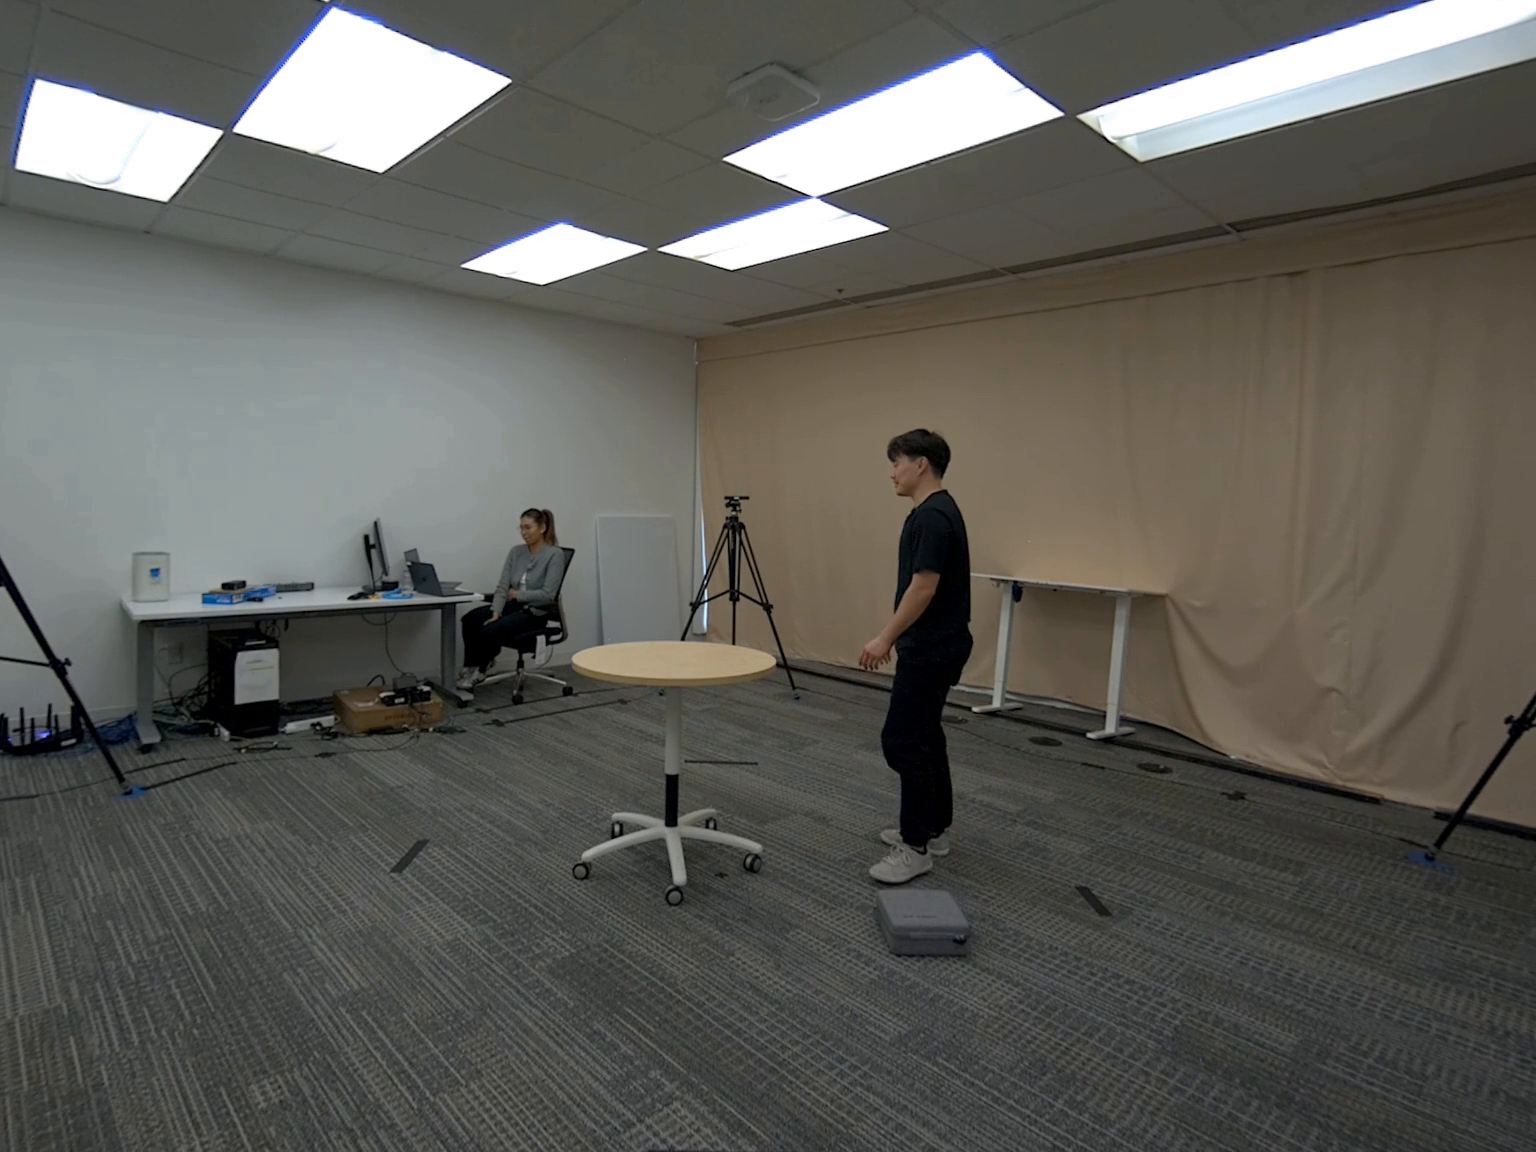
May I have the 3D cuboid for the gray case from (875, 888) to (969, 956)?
[{"bbox_3d":[0.488,1.100,2.692,0.256,0.104,0.262,2,5,-5],"label":"gray case"}]
